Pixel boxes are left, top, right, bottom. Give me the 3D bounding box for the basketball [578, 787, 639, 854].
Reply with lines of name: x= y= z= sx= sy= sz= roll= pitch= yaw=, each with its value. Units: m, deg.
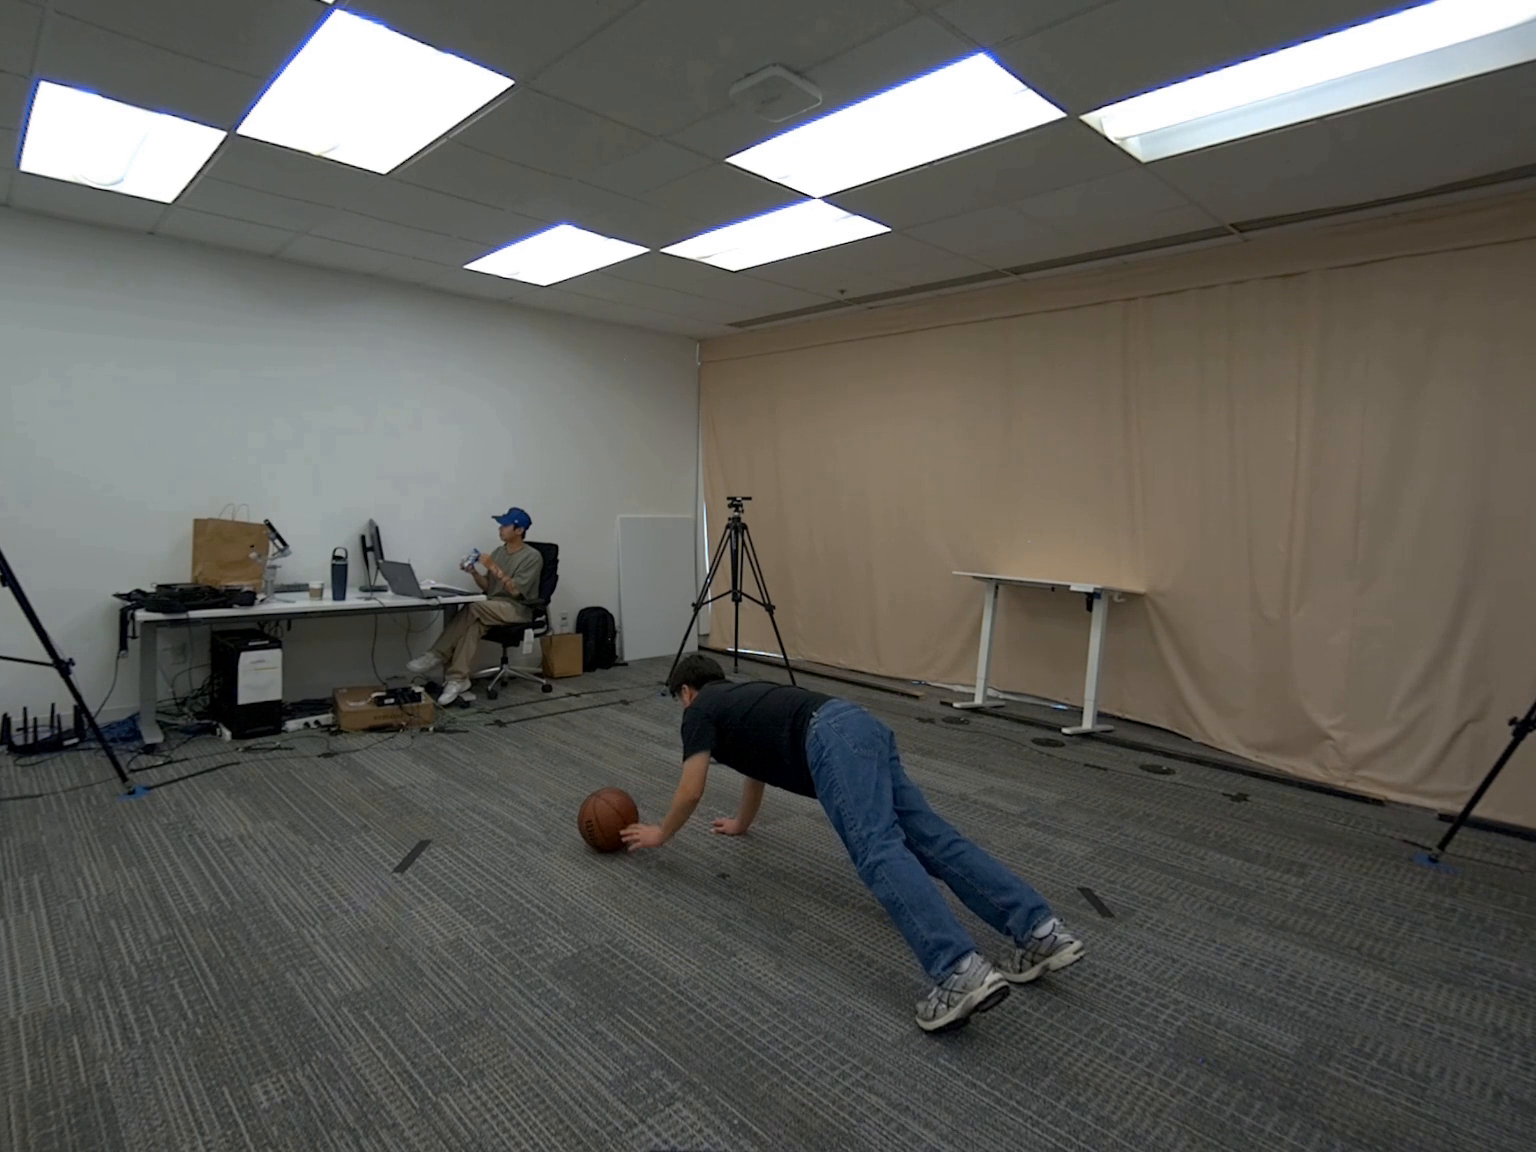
basketball: x=-0.636 y=0.957 z=3.314 sx=0.236 sy=0.235 sz=0.237 roll=1 pitch=4 yaw=-1
